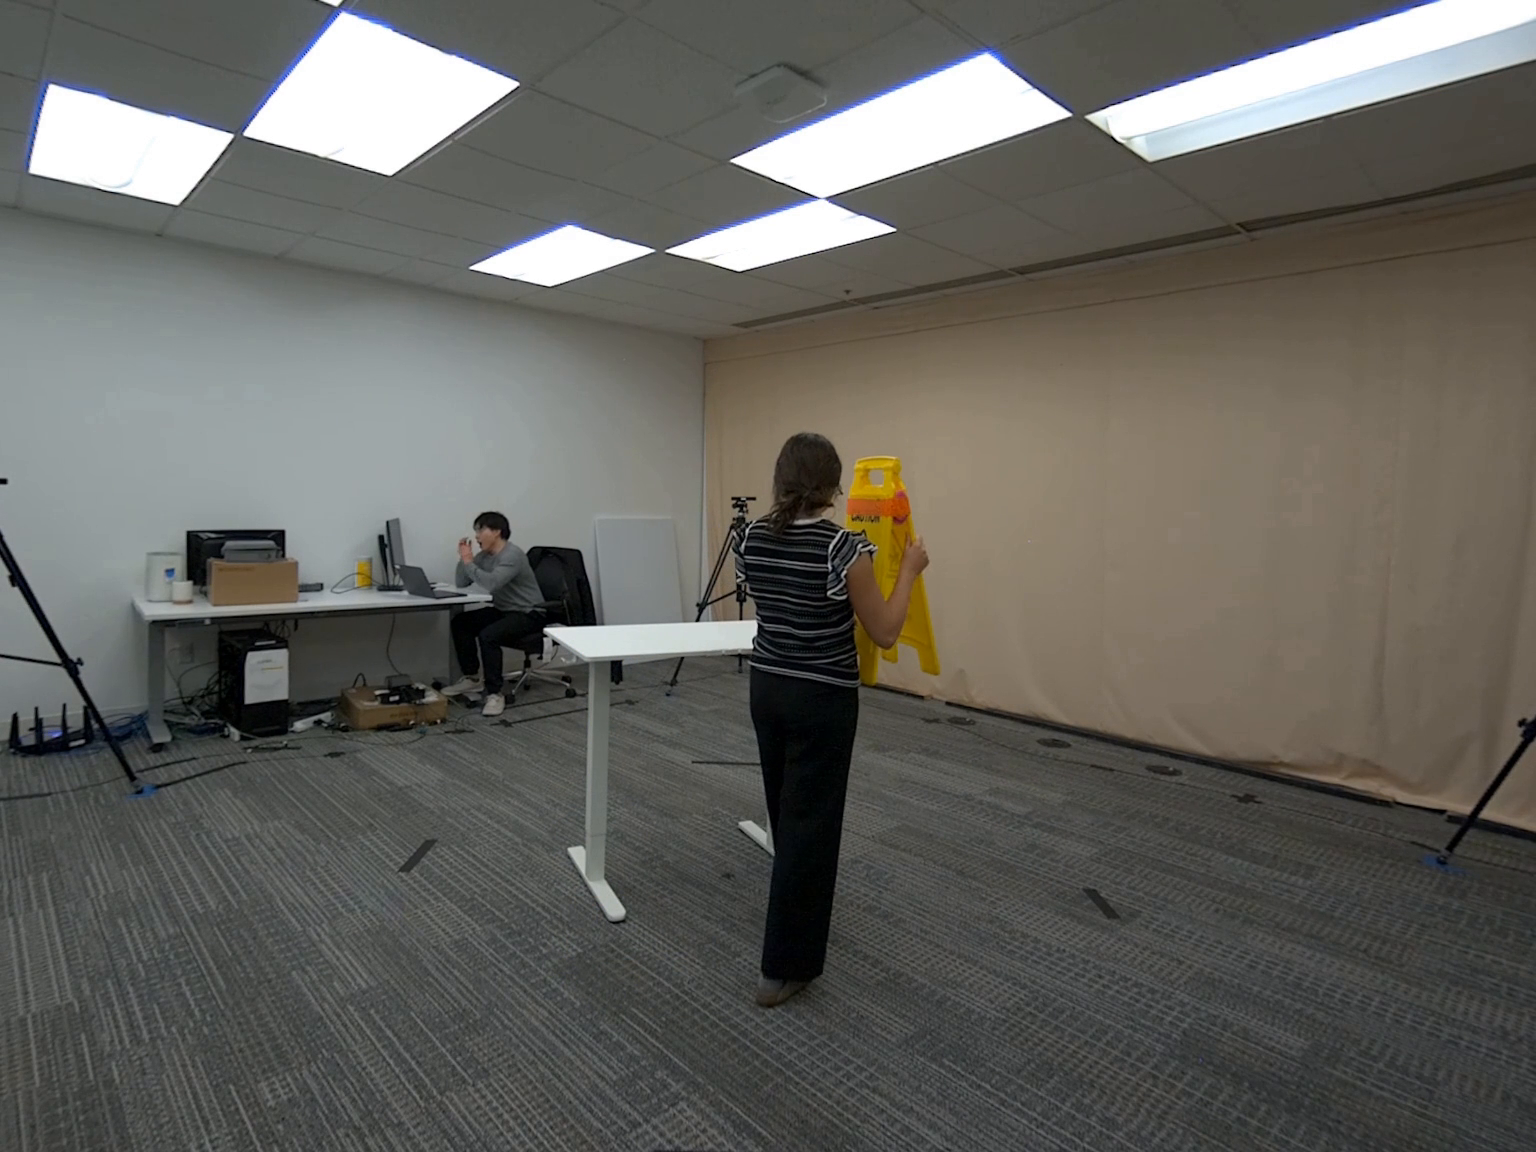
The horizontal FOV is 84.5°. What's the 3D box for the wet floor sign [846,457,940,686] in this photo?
[{"bbox_3d":[0.321,-0.029,2.535,0.284,0.644,0.288,-3,3,-26],"label":"wet floor sign"}]
